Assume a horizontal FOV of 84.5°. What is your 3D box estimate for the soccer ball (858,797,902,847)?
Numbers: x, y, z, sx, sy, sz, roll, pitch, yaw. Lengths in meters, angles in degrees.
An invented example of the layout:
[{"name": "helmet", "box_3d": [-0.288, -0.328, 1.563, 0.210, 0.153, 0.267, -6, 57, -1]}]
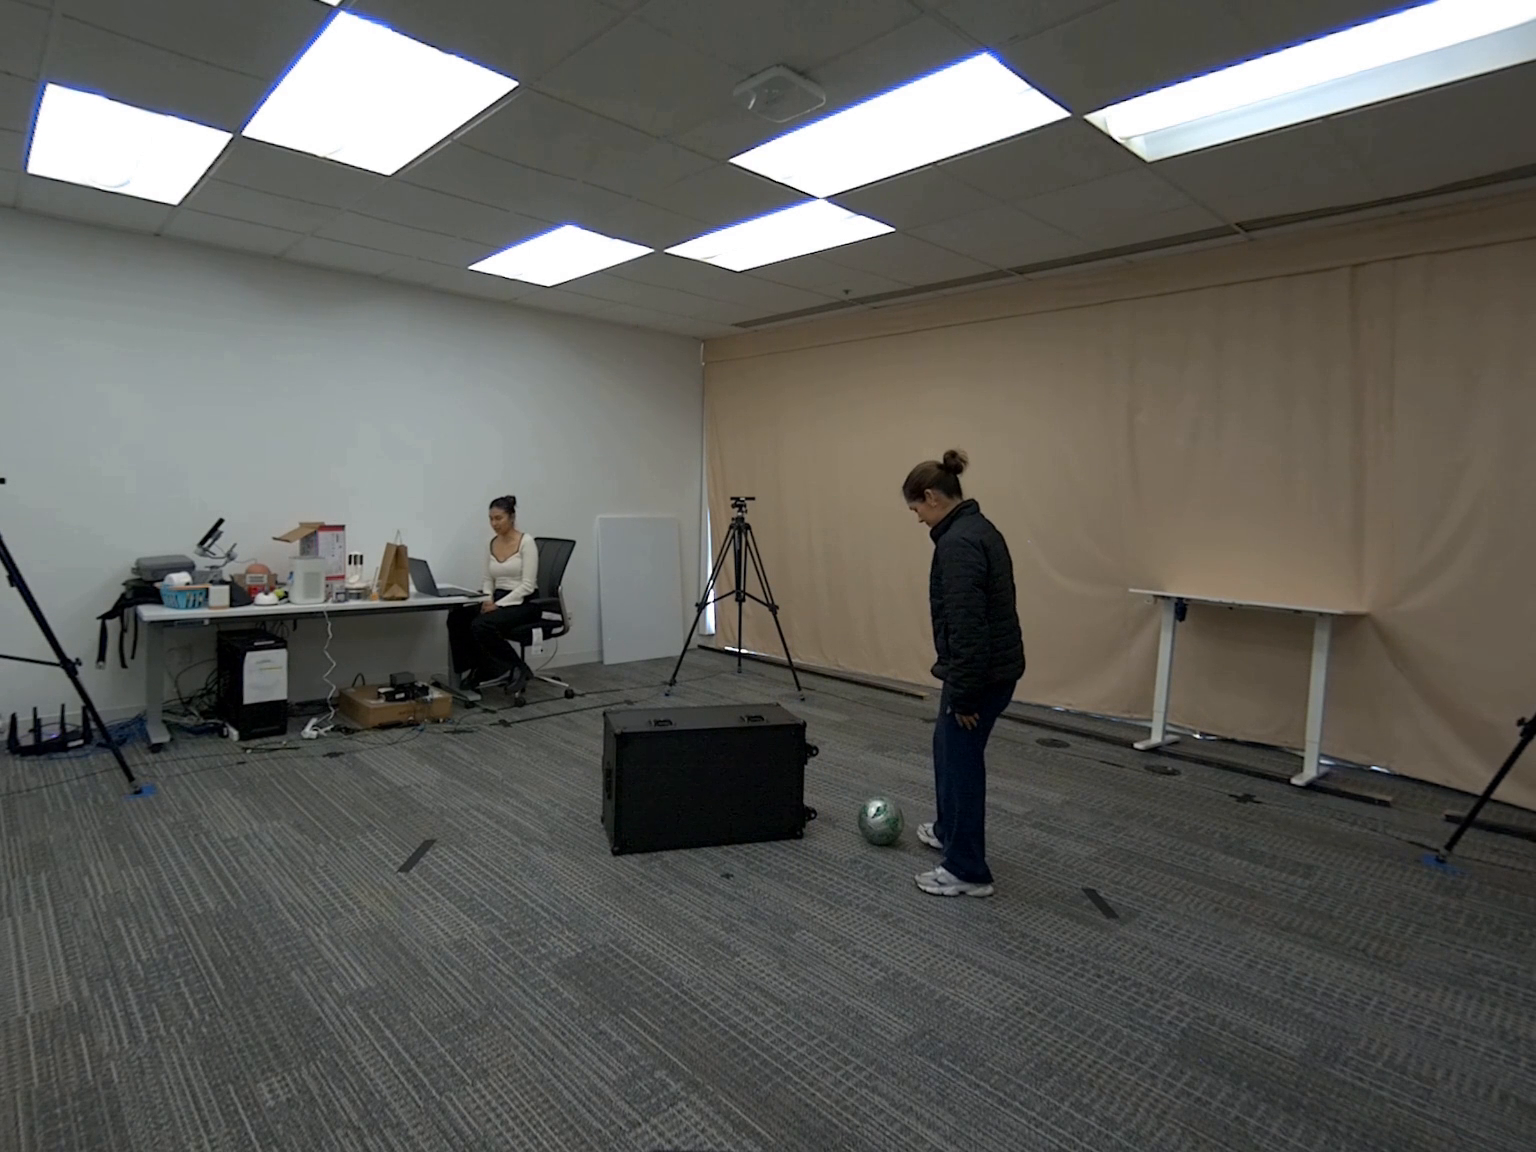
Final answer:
[{"name": "soccer ball", "box_3d": [0.444, 0.993, 3.443, 0.187, 0.187, 0.188, 1, 4, -1]}]
